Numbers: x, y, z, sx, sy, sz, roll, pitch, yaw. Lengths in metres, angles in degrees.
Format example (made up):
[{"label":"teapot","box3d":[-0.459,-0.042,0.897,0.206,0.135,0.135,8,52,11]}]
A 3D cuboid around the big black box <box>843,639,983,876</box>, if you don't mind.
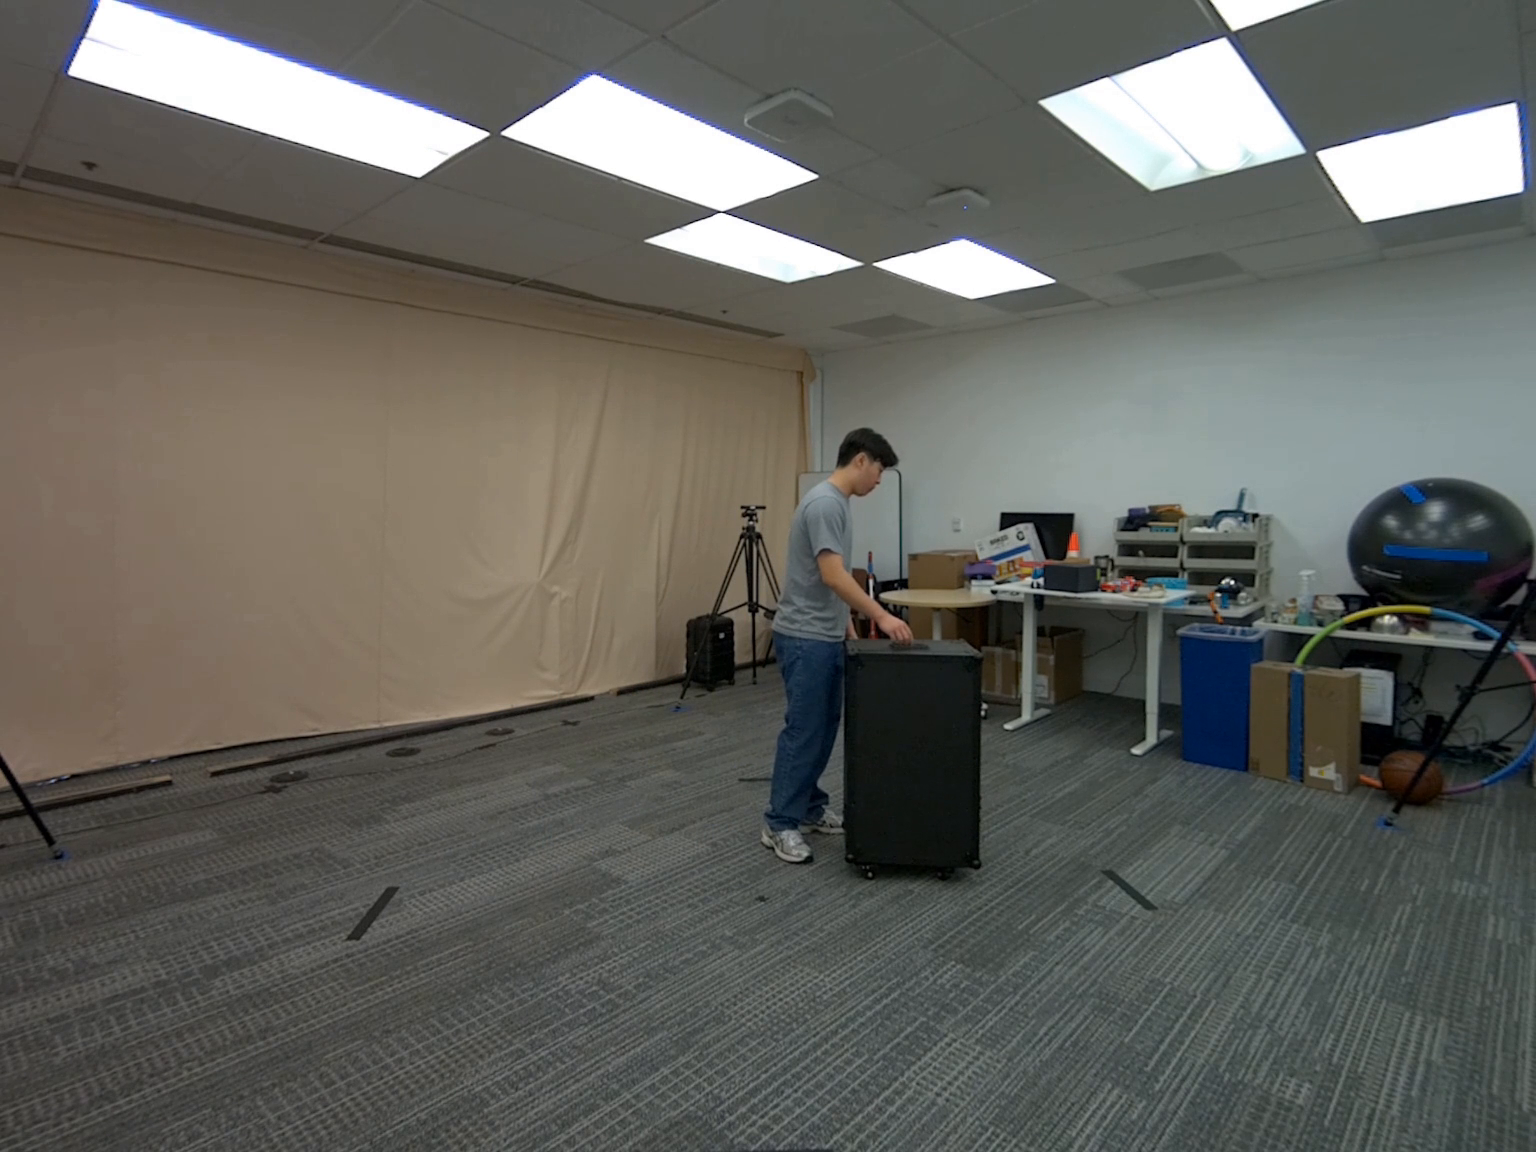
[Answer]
[{"label":"big black box","box3d":[0.549,0.699,3.254,0.525,0.860,0.394,0,3,5]}]
